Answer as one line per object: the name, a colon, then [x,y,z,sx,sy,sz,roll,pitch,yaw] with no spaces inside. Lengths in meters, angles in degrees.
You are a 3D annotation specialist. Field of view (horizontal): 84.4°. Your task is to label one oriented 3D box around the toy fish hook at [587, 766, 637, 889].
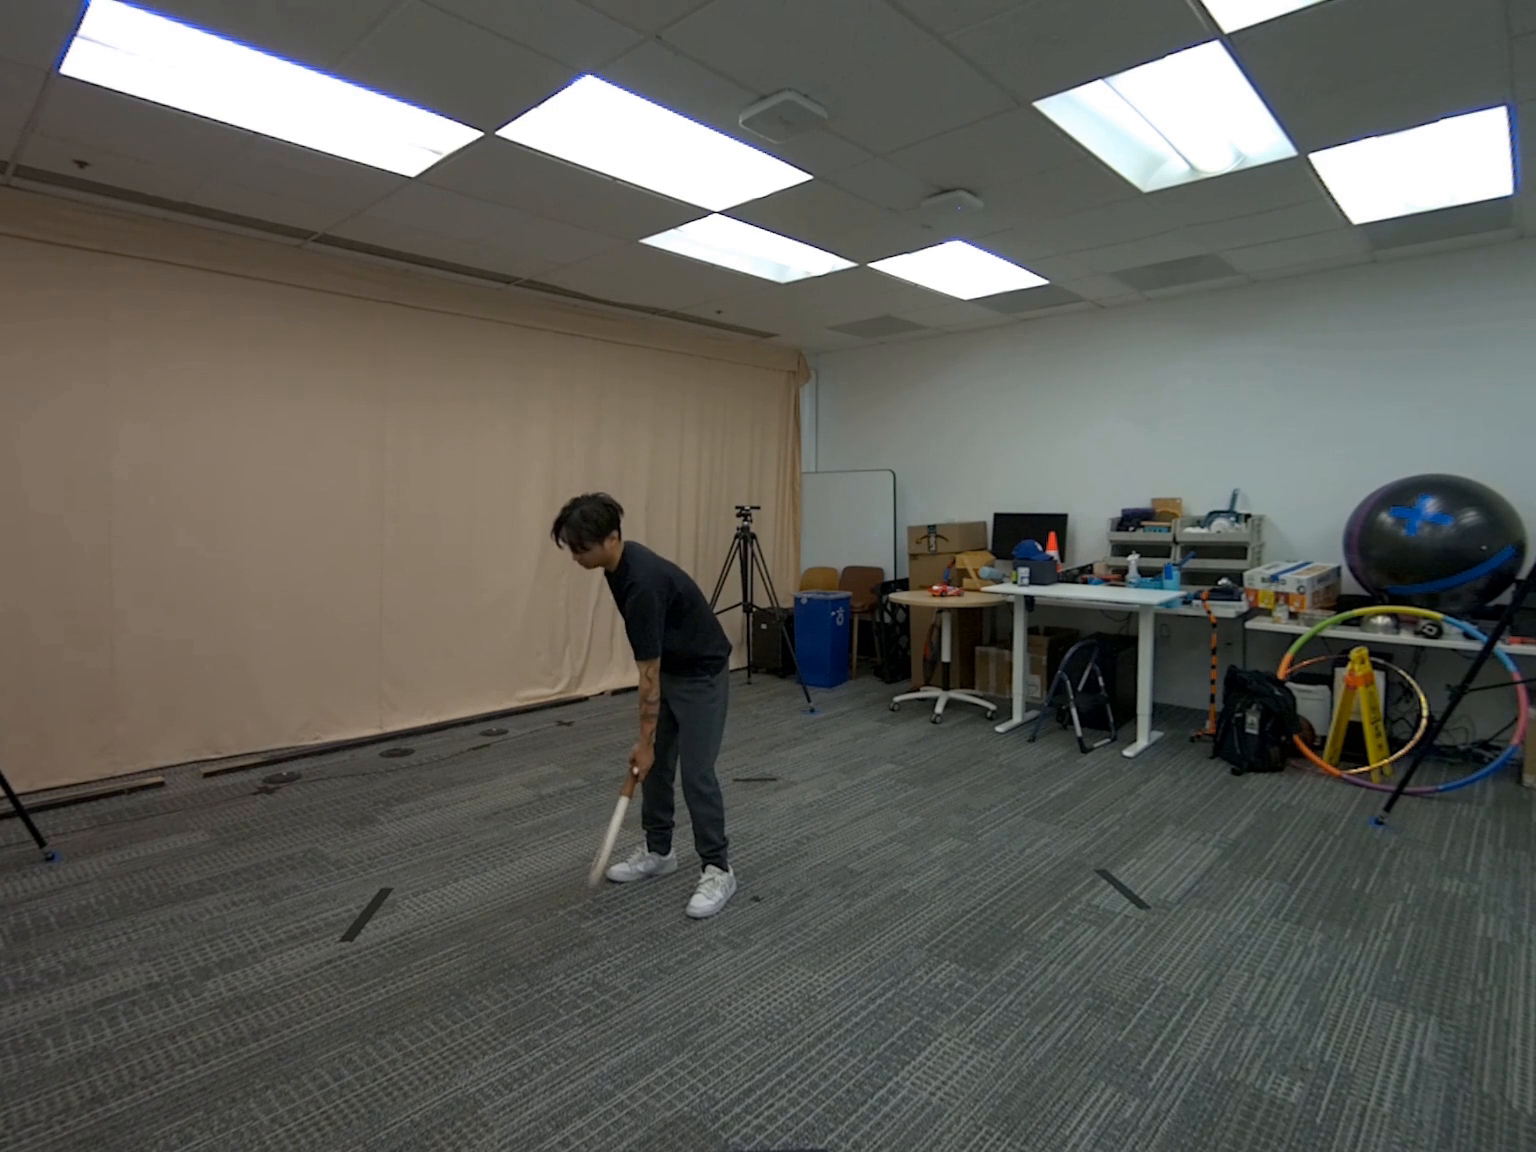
toy fish hook: [-0.513,0.808,2.876,0.048,0.508,0.225,25,-20,-8]
